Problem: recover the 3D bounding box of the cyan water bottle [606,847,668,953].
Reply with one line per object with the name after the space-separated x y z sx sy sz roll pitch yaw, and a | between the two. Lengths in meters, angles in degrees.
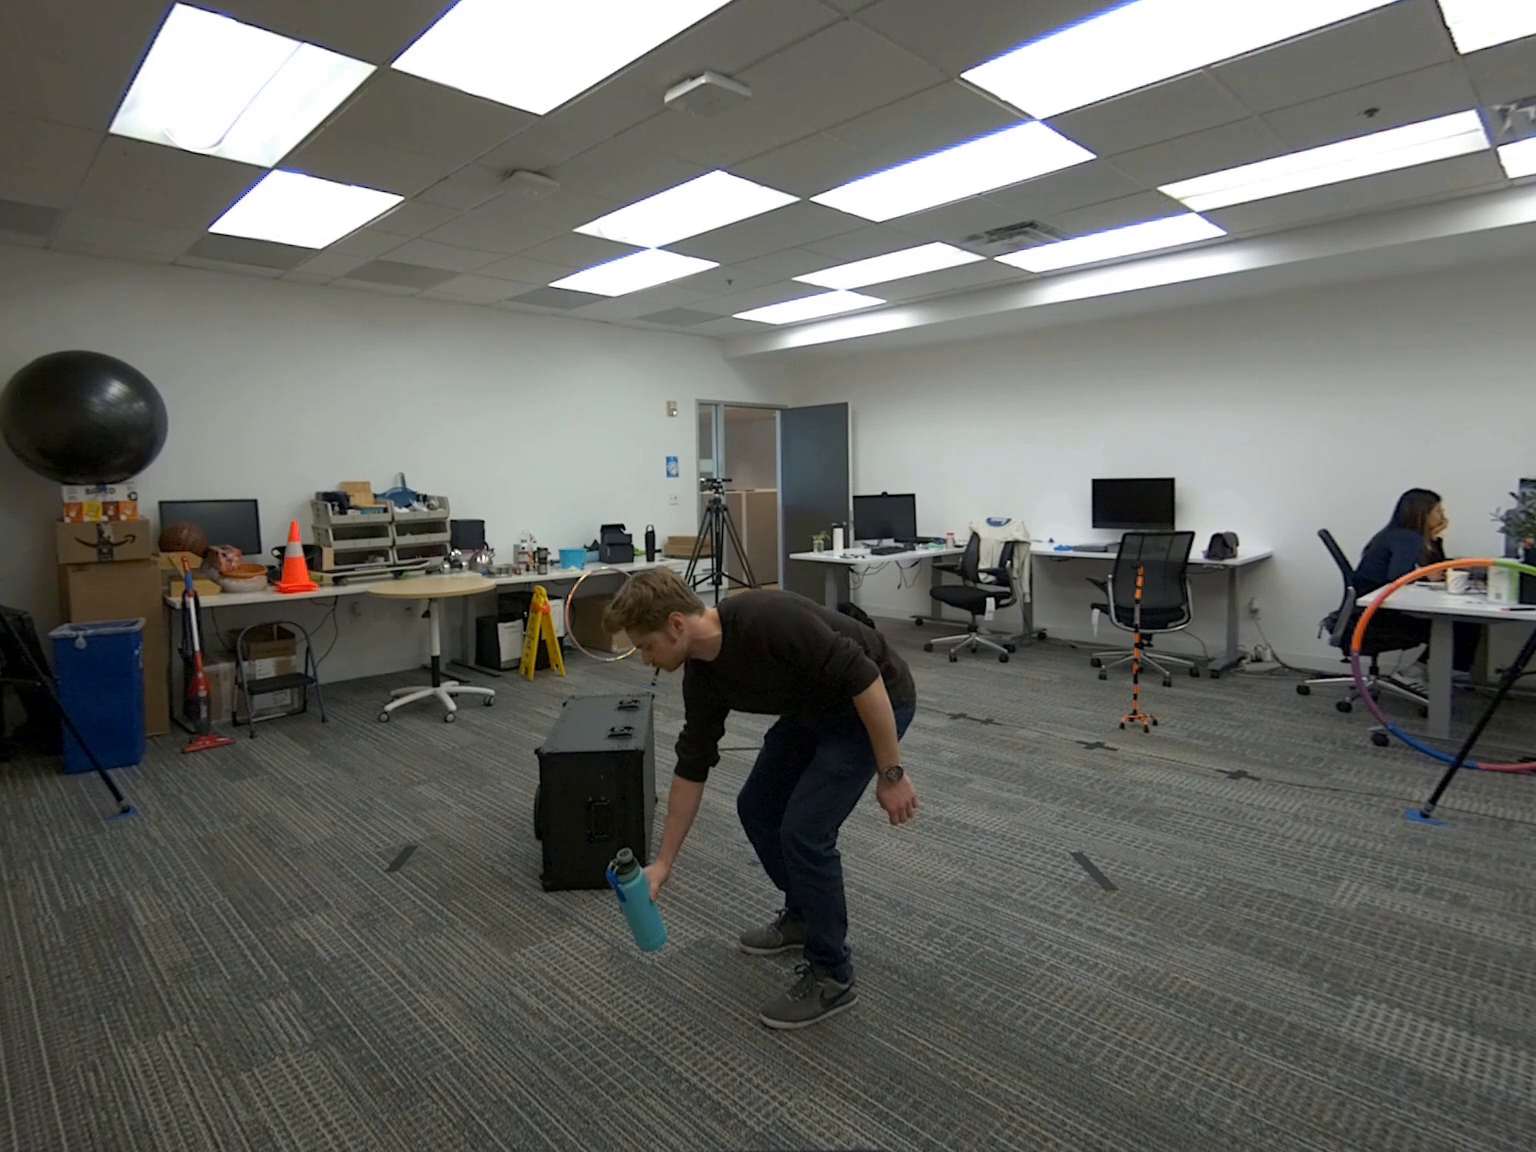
-0.351 0.865 2.269 0.092 0.278 0.094 -18 16 4 | cyan water bottle
